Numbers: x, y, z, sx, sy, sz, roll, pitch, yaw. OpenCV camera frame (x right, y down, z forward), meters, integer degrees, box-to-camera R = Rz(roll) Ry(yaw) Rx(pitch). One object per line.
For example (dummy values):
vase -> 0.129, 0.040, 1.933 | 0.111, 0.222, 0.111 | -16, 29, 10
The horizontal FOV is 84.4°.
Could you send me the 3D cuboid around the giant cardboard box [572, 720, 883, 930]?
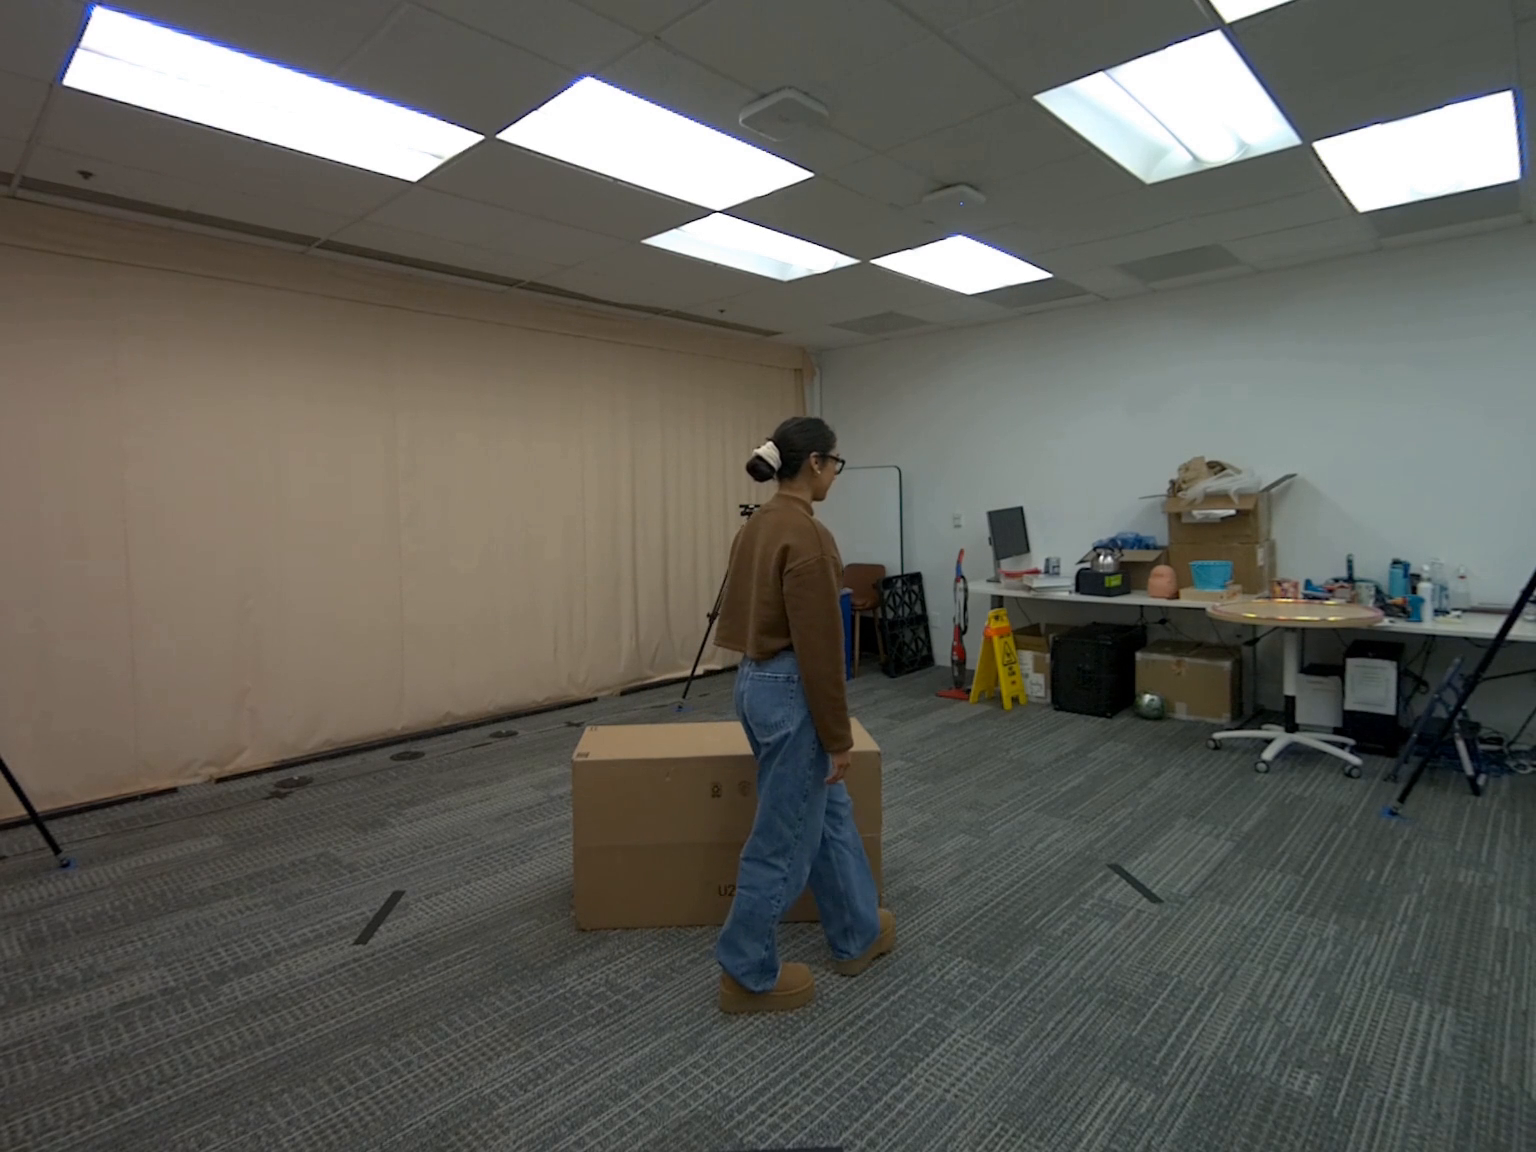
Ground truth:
giant cardboard box -> -0.151, 0.855, 2.989 | 1.023, 0.576, 0.428 | -1, 3, -2
